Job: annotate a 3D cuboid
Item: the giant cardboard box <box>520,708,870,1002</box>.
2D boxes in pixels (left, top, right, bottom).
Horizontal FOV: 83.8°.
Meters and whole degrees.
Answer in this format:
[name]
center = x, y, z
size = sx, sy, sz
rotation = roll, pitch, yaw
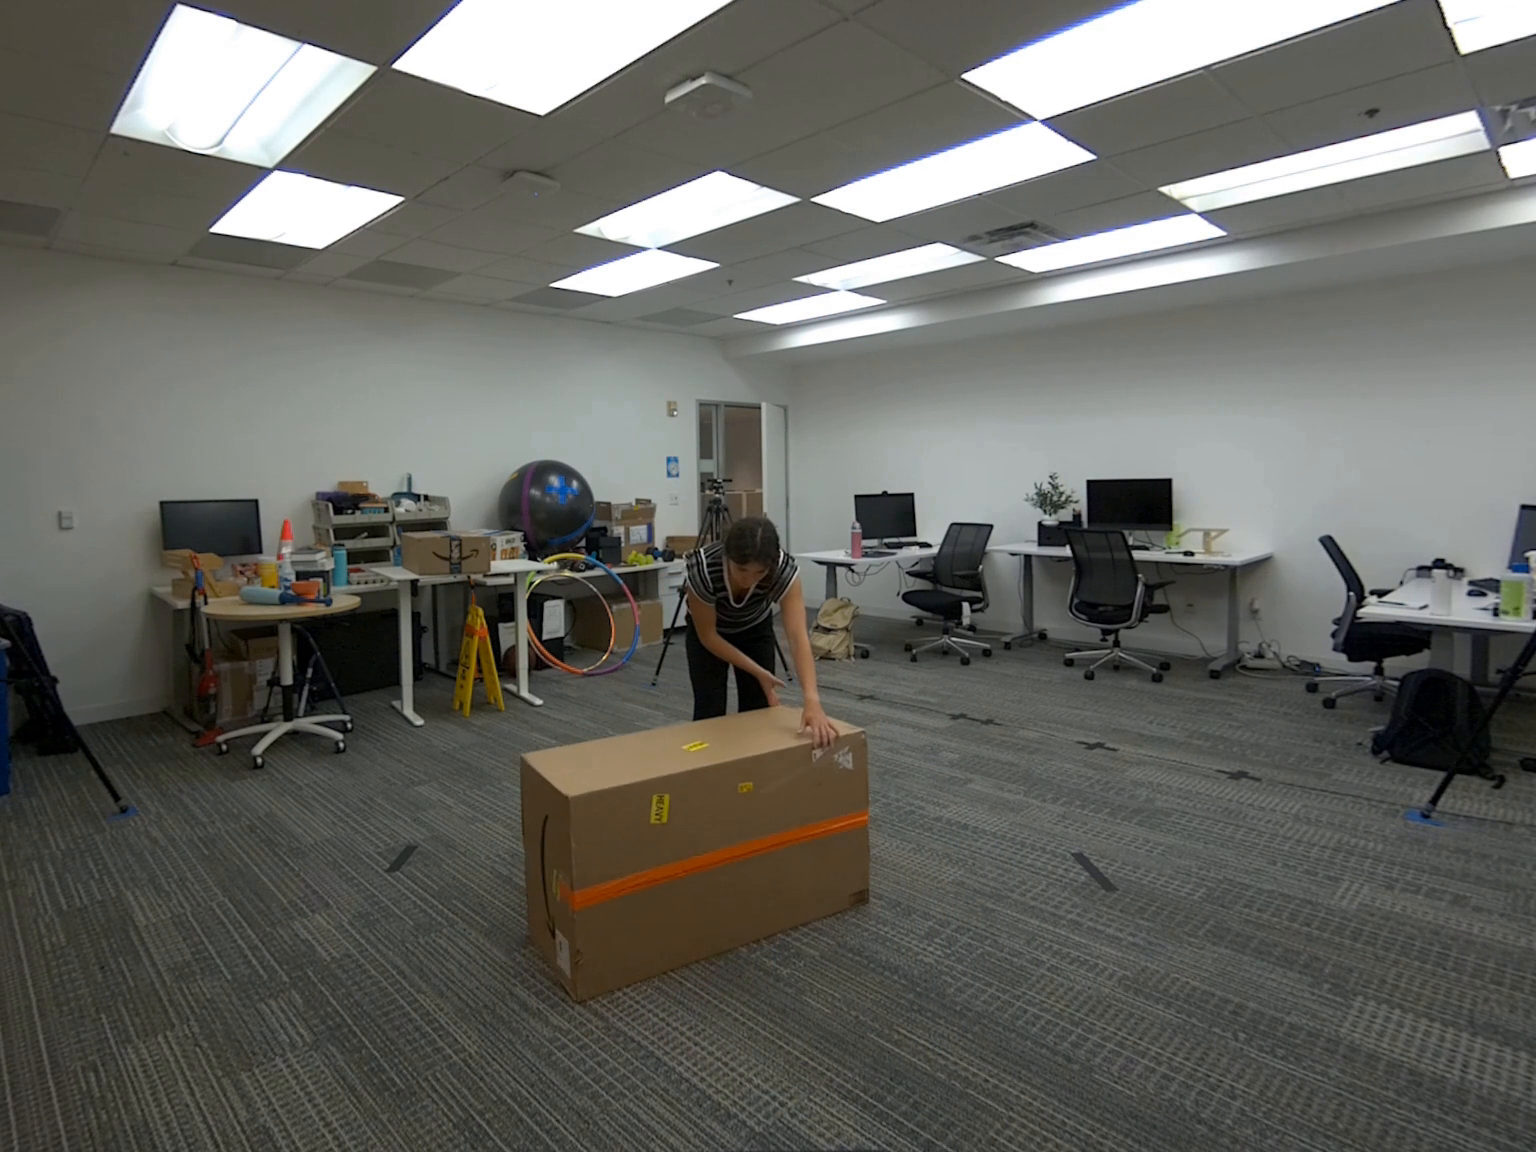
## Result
[giant cardboard box]
center = -0.209, 0.804, 2.697
size = 1.002, 0.575, 0.438
rotation = -5, 6, -31
